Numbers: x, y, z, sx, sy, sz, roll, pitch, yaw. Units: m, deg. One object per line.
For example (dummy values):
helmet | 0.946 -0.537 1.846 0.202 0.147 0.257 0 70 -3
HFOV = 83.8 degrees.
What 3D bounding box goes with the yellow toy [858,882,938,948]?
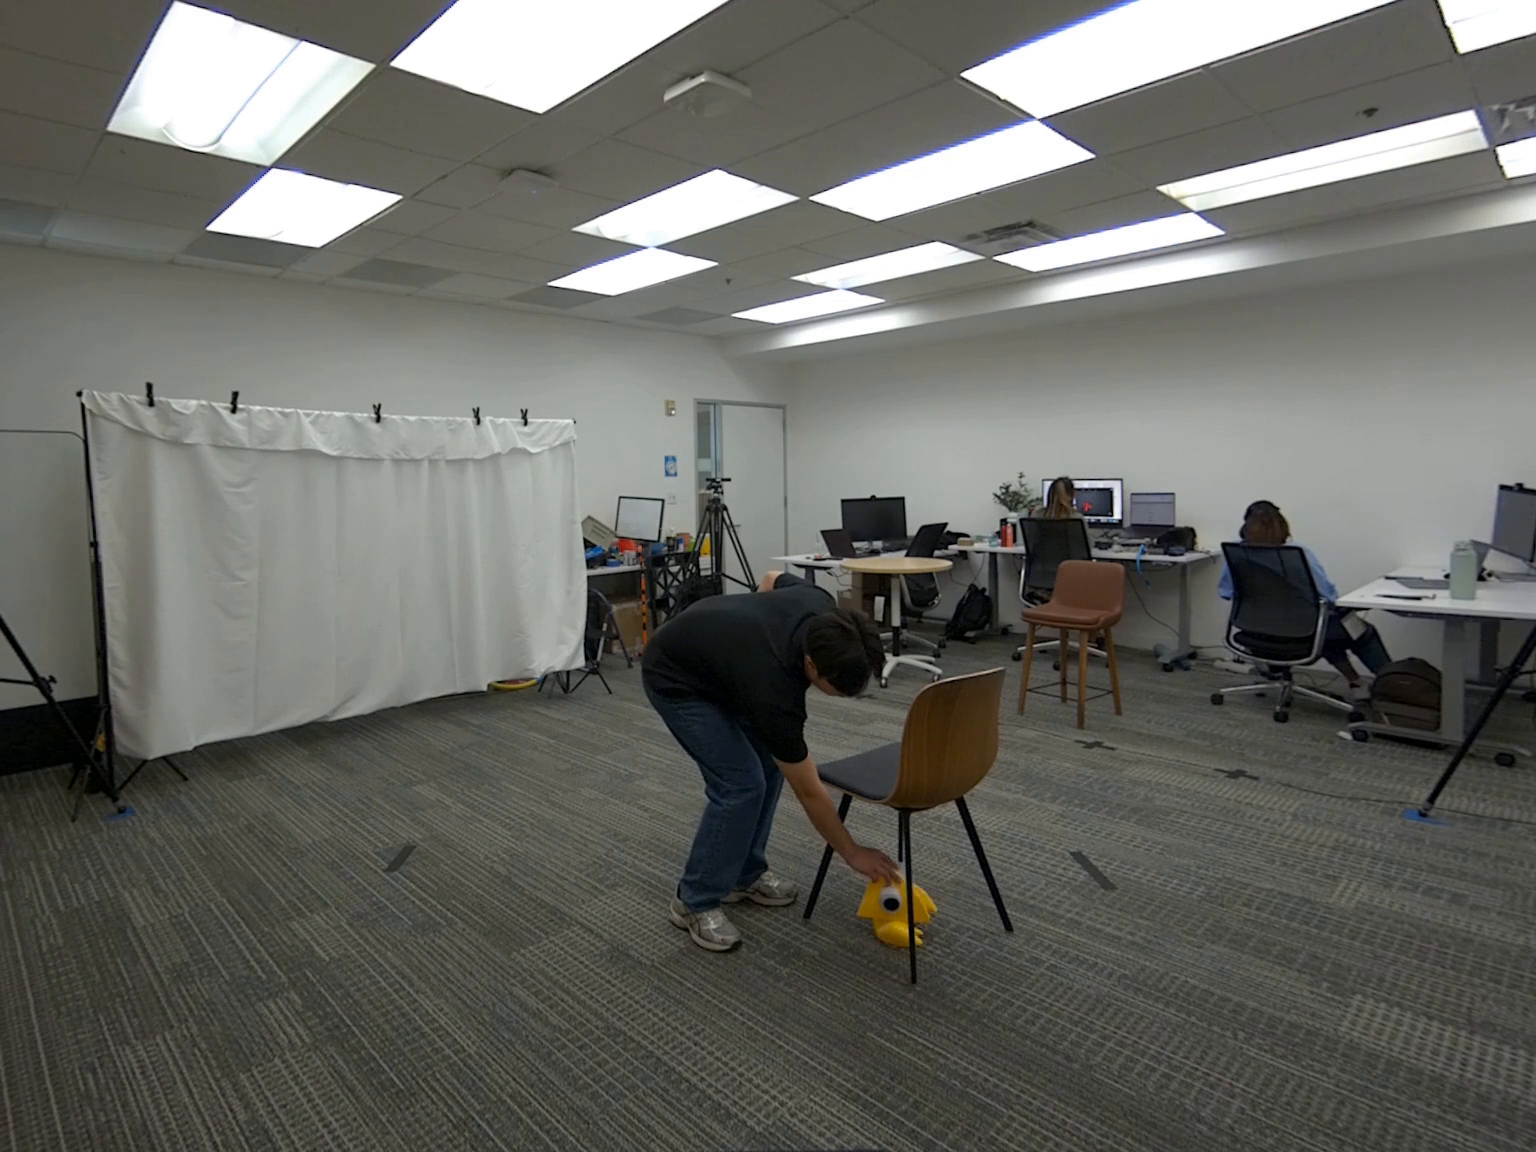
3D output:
yellow toy | 0.394 0.956 2.577 0.199 0.225 0.203 5 28 38
